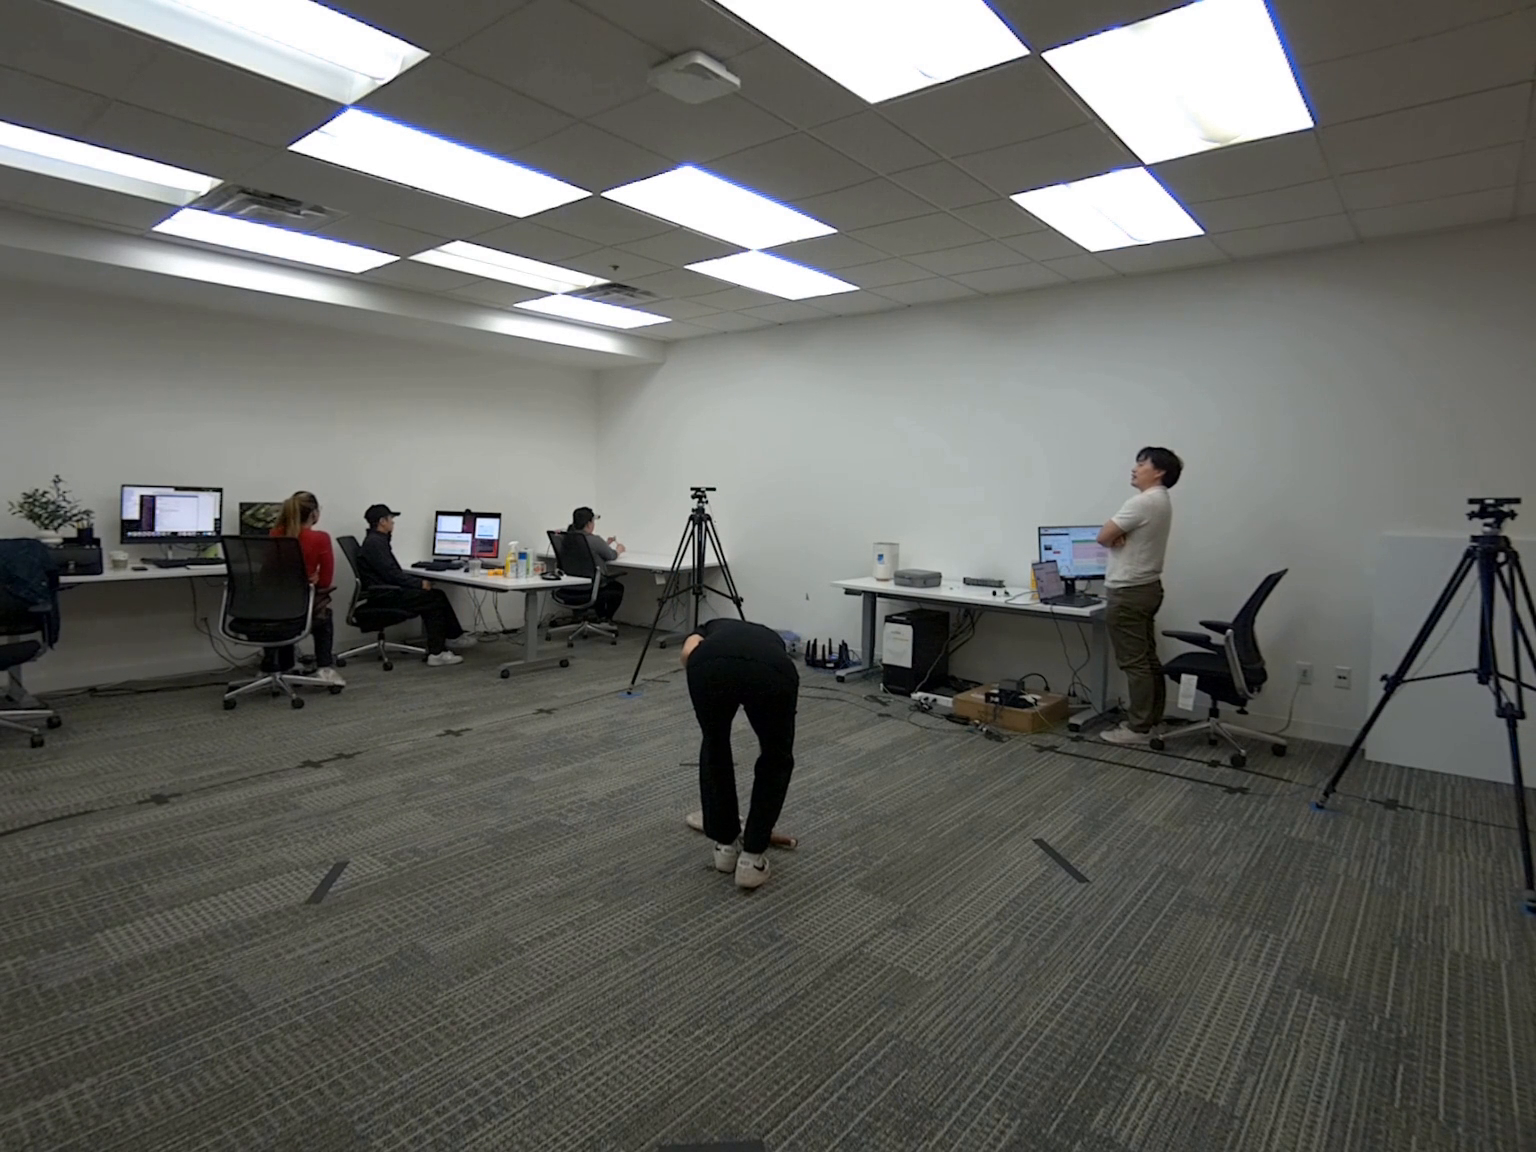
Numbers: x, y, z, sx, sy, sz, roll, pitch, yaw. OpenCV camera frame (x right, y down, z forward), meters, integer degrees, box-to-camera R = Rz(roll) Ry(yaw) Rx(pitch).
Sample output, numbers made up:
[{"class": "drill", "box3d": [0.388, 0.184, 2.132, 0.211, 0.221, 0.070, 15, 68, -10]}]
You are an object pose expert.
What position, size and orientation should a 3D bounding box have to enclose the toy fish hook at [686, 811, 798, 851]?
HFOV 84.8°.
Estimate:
[{"class": "toy fish hook", "box3d": [-0.097, 1.003, 3.439, 0.521, 0.048, 0.219, 5, 5, 29]}]
